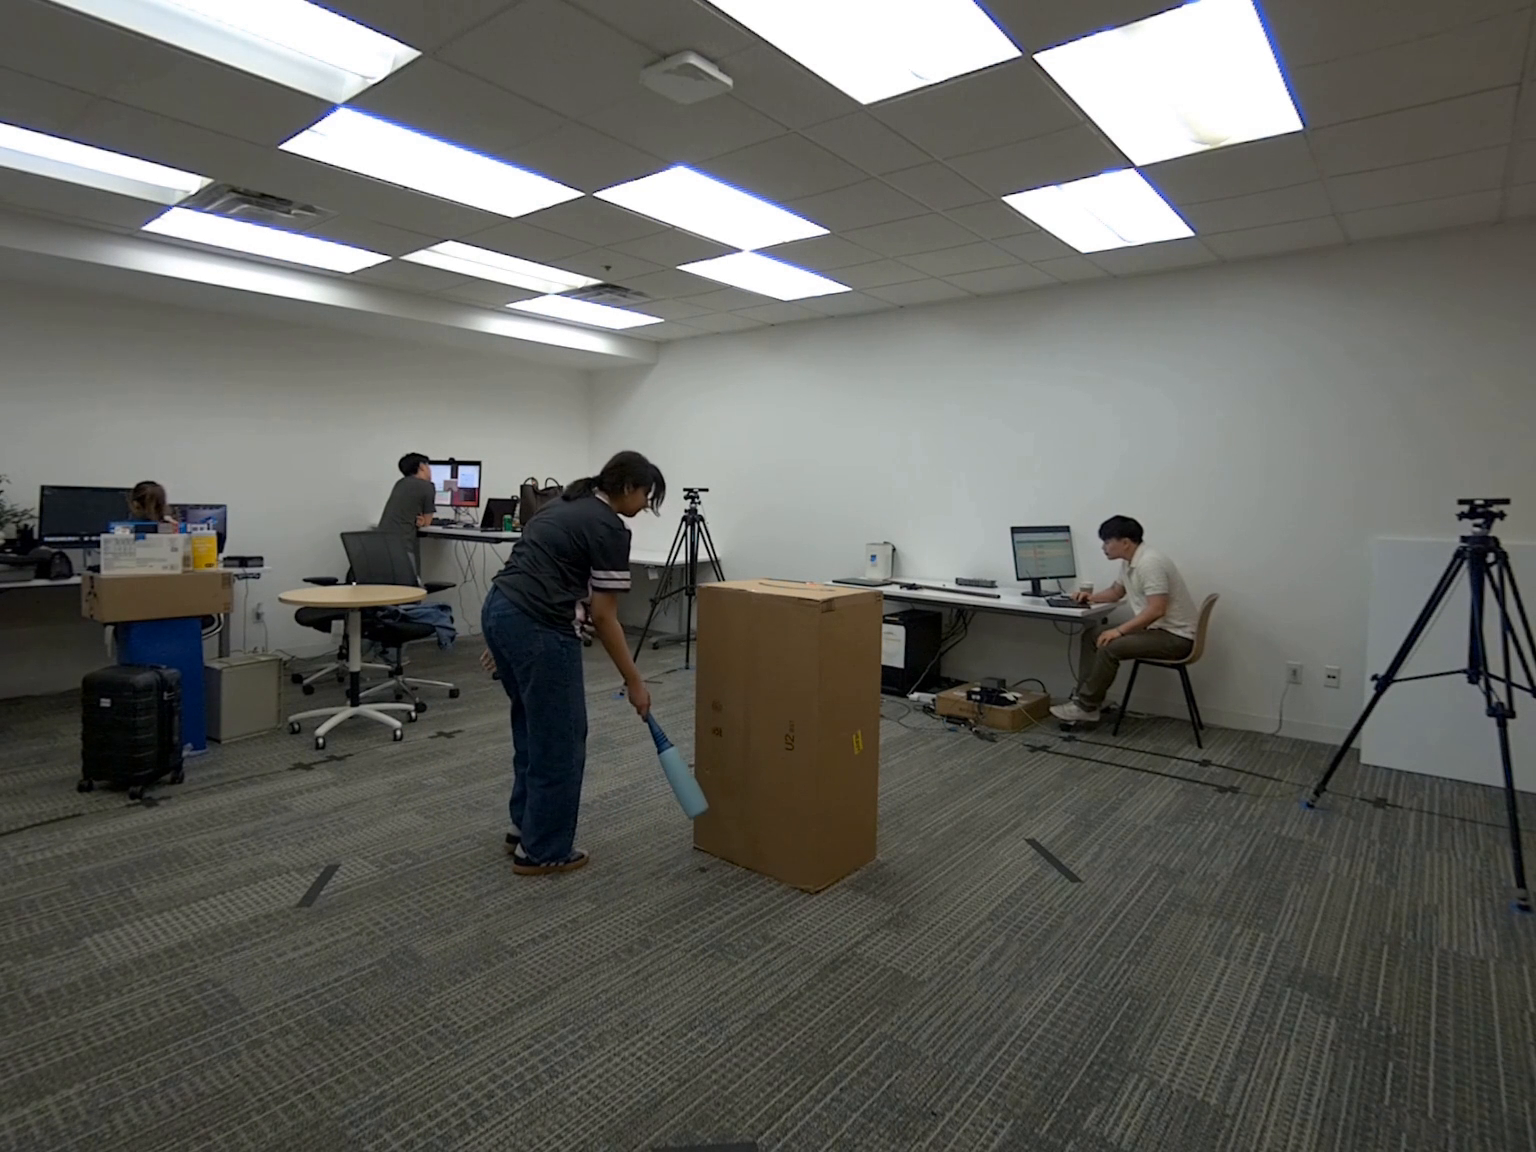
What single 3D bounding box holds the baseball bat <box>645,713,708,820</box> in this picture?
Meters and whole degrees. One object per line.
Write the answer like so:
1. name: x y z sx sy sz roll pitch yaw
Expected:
1. baseball bat: -0.389 0.617 3.040 0.088 0.555 0.087 -29 -16 -10
